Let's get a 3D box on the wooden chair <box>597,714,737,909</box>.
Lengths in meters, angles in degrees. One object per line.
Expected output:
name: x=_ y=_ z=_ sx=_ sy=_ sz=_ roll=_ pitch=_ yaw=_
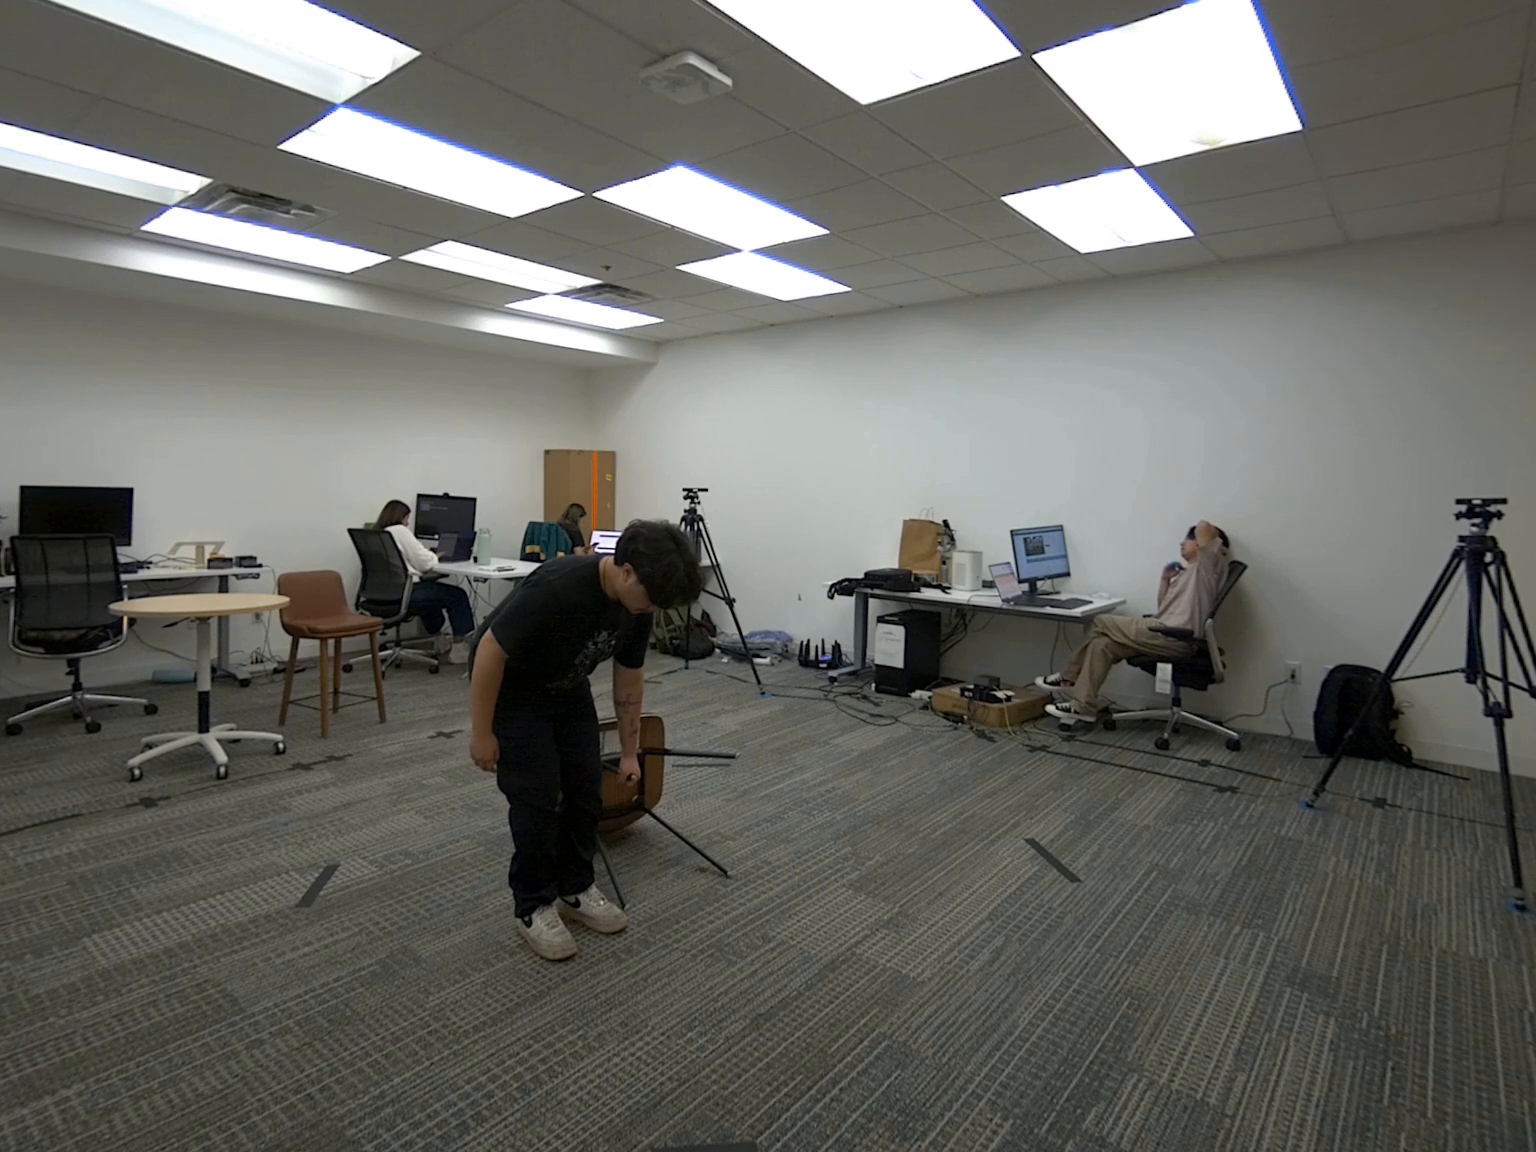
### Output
wooden chair: x=-0.573 y=0.794 z=3.228 sx=0.464 sy=0.522 sz=0.907 roll=-2 pitch=5 yaw=-39
